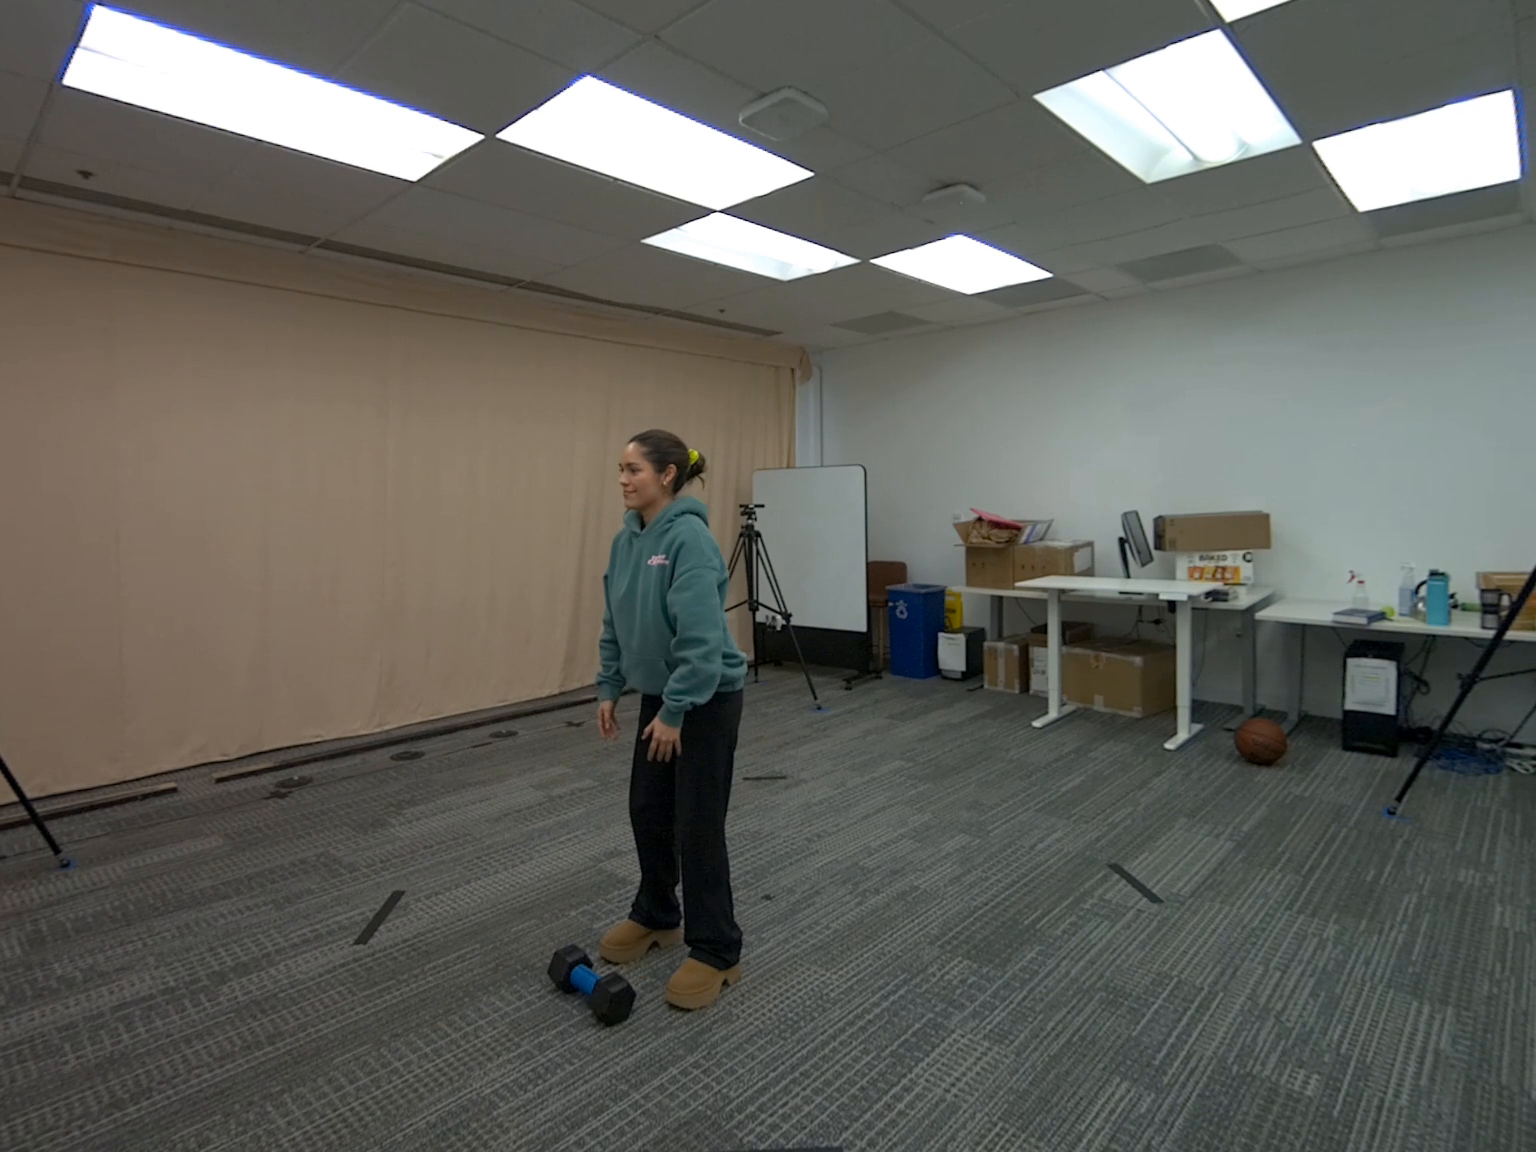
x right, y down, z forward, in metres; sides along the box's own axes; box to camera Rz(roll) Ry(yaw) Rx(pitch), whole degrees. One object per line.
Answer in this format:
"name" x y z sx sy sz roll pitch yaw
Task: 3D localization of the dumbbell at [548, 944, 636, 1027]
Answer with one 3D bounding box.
"dumbbell" -0.494 1.147 2.374 0.303 0.120 0.107 4 38 47
